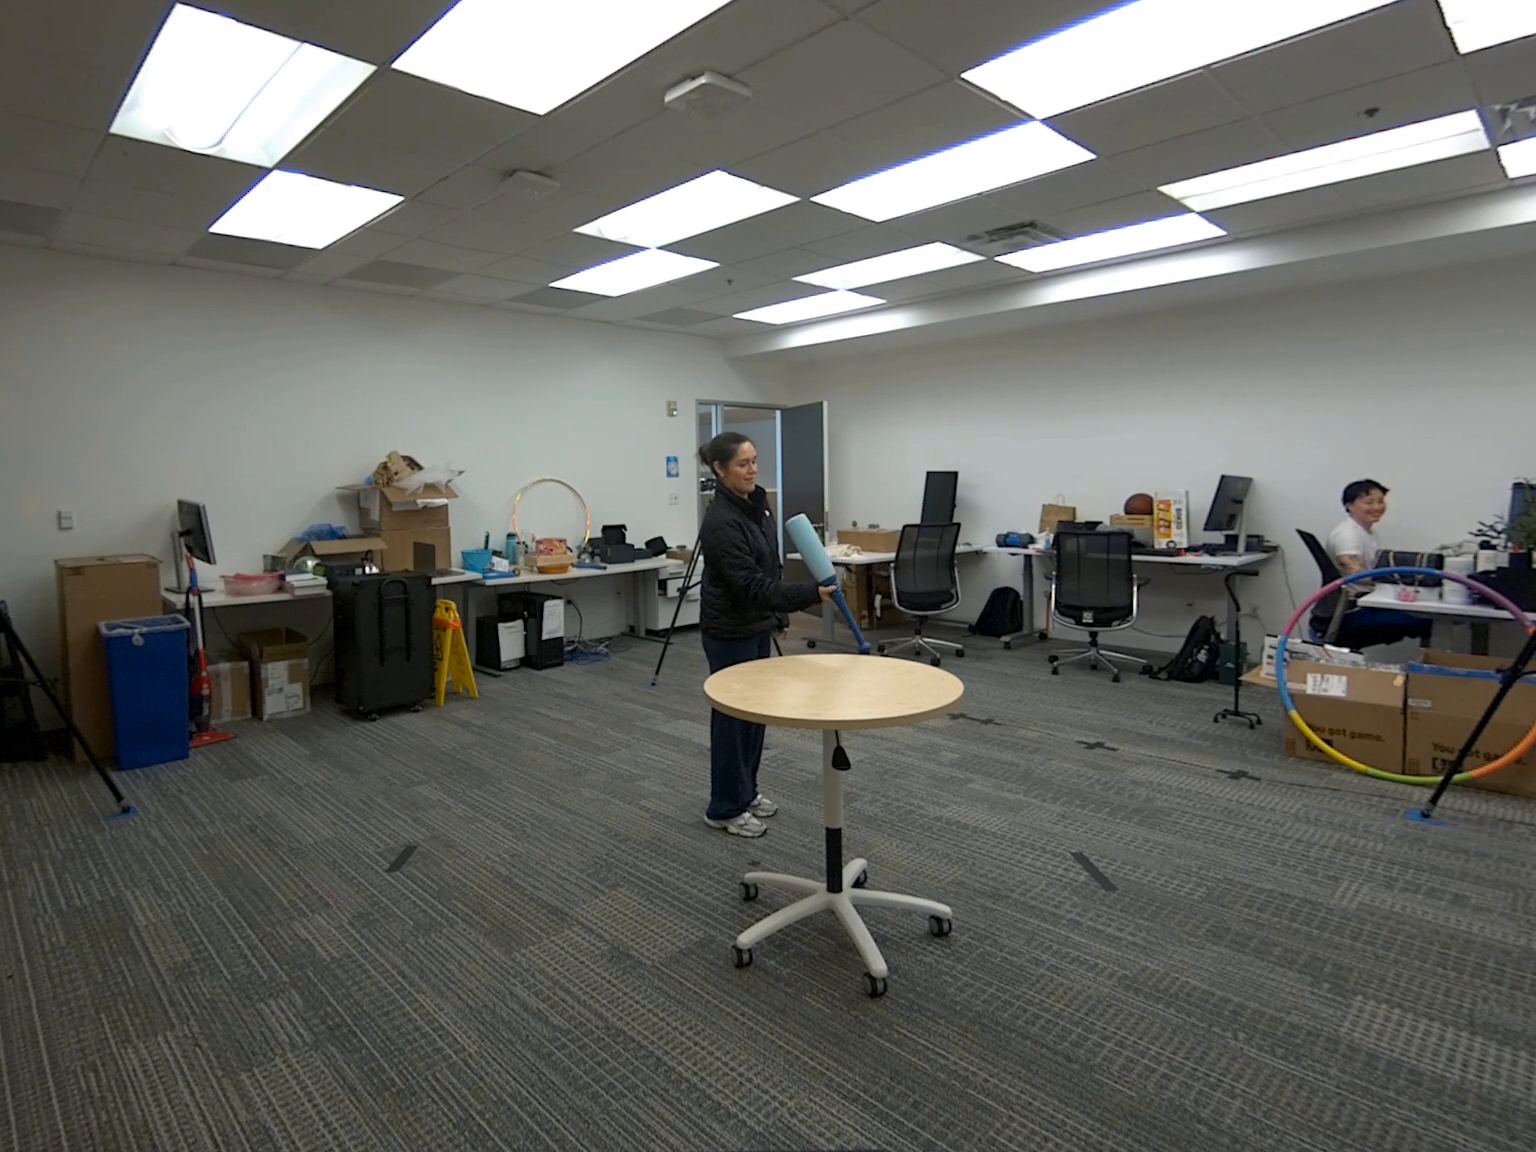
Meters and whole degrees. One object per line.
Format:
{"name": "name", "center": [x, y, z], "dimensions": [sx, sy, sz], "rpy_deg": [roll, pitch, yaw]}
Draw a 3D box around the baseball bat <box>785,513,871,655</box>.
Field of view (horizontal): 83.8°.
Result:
{"name": "baseball bat", "center": [0.223, 0.026, 3.075], "dimensions": [0.089, 0.549, 0.088], "rpy_deg": [-26, -8, -5]}
